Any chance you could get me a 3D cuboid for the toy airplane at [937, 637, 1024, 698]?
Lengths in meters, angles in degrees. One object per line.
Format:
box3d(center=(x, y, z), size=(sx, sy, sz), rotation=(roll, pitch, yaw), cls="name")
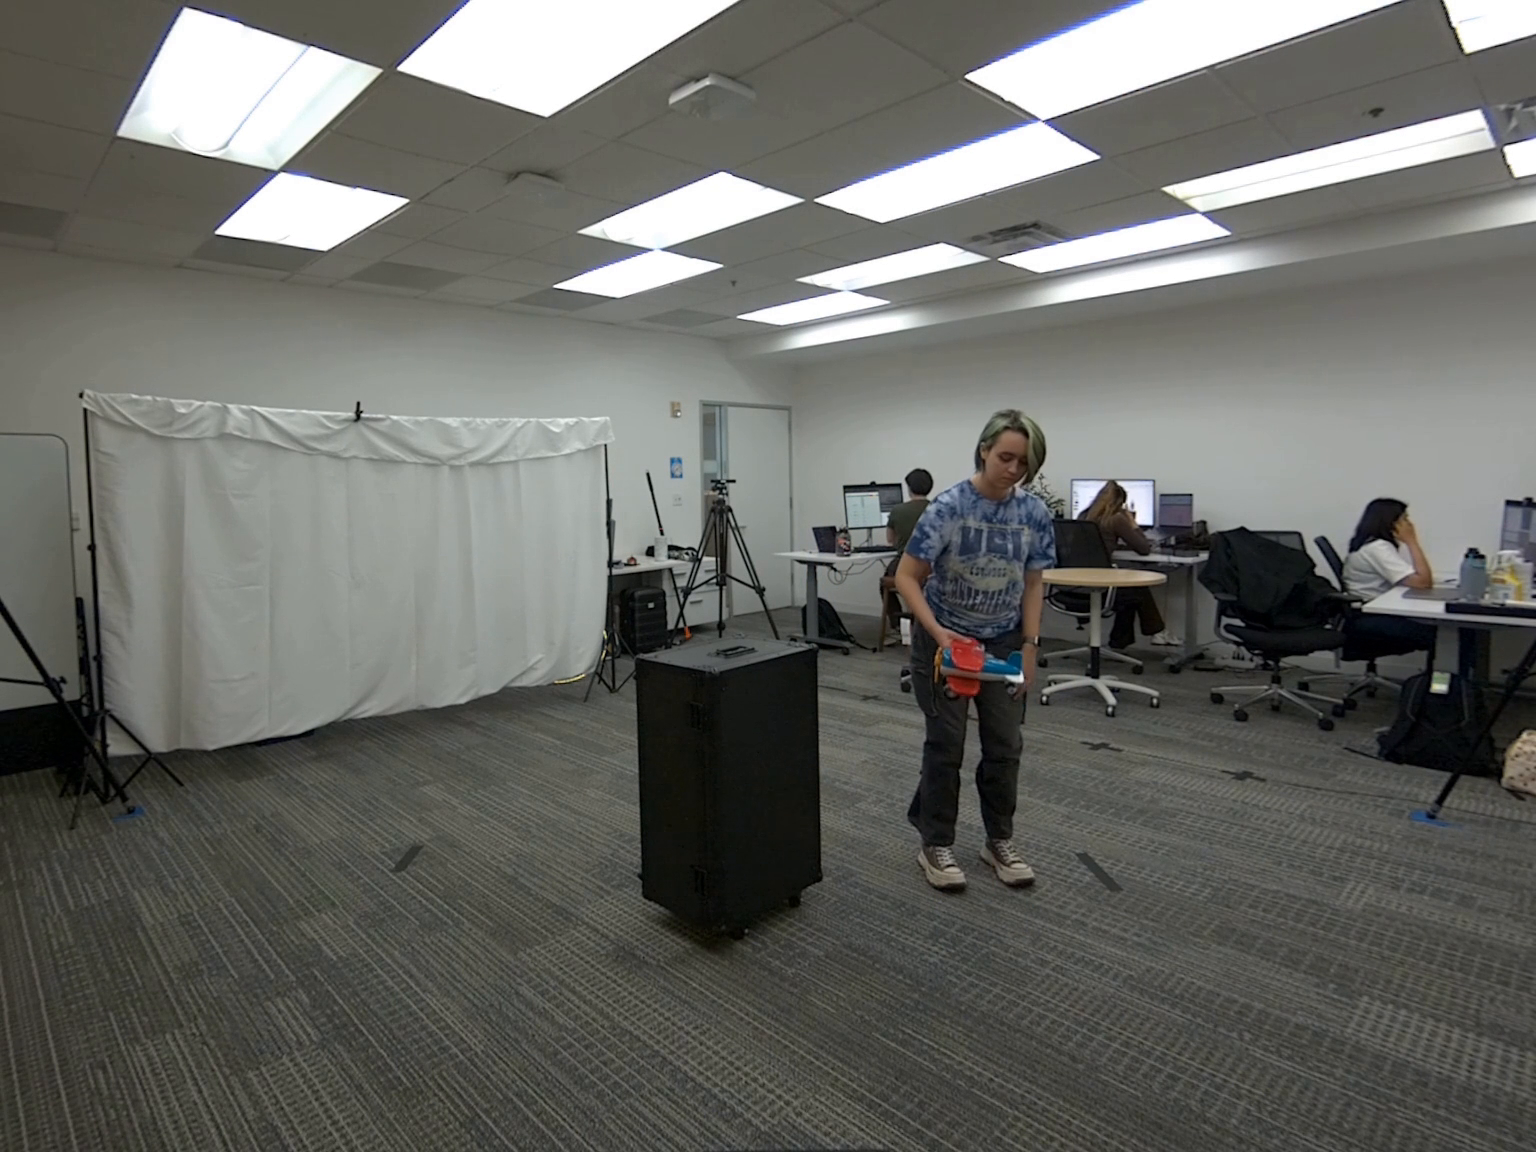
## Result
box3d(center=(0.654, 0.284, 2.646), size=(0.257, 0.155, 0.256), rotation=(-13, 12, -12), cls="toy airplane")
